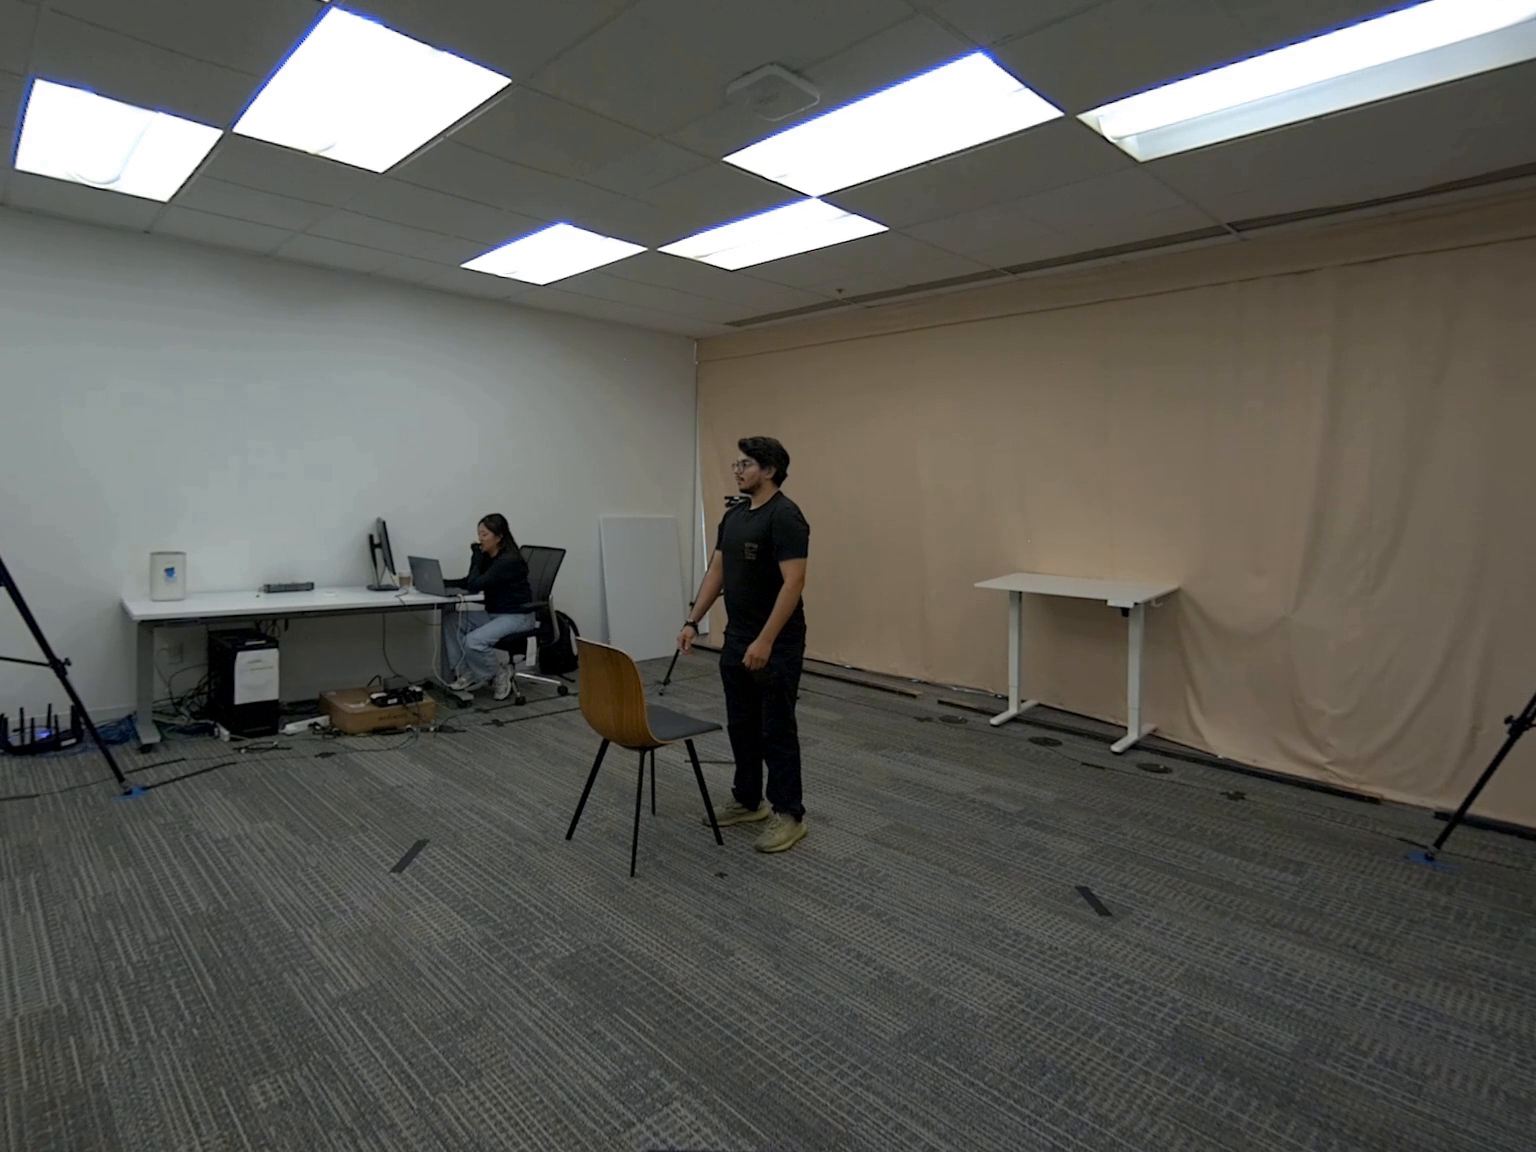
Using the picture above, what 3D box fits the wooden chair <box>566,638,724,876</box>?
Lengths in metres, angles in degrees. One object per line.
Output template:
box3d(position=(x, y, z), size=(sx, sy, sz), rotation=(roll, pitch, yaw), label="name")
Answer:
box3d(position=(-0.484, 0.645, 3.356), size=(0.512, 0.873, 0.490), rotation=(-8, 9, -43), label="wooden chair")
